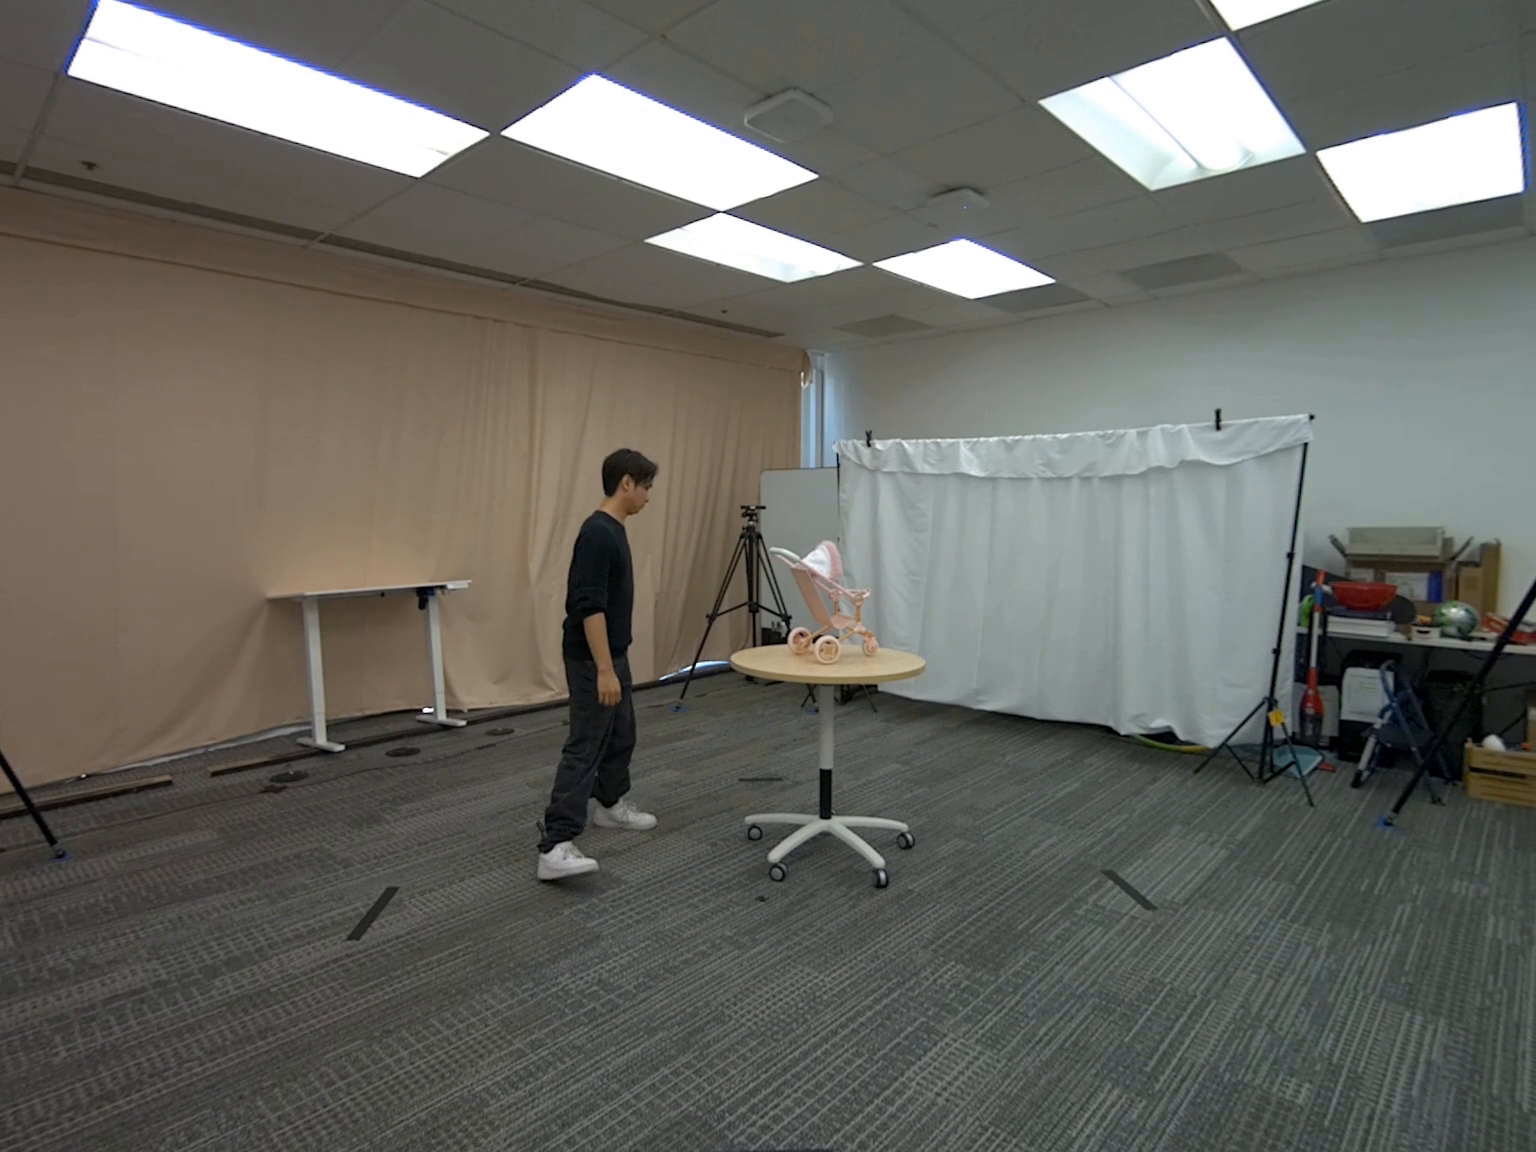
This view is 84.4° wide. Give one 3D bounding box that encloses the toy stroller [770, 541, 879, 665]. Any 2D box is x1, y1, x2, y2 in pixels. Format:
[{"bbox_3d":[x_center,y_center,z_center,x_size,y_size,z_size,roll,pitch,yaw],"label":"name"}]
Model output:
[{"bbox_3d":[0.250,0.103,3.347,0.337,0.532,0.286,-15,6,-14],"label":"toy stroller"}]
